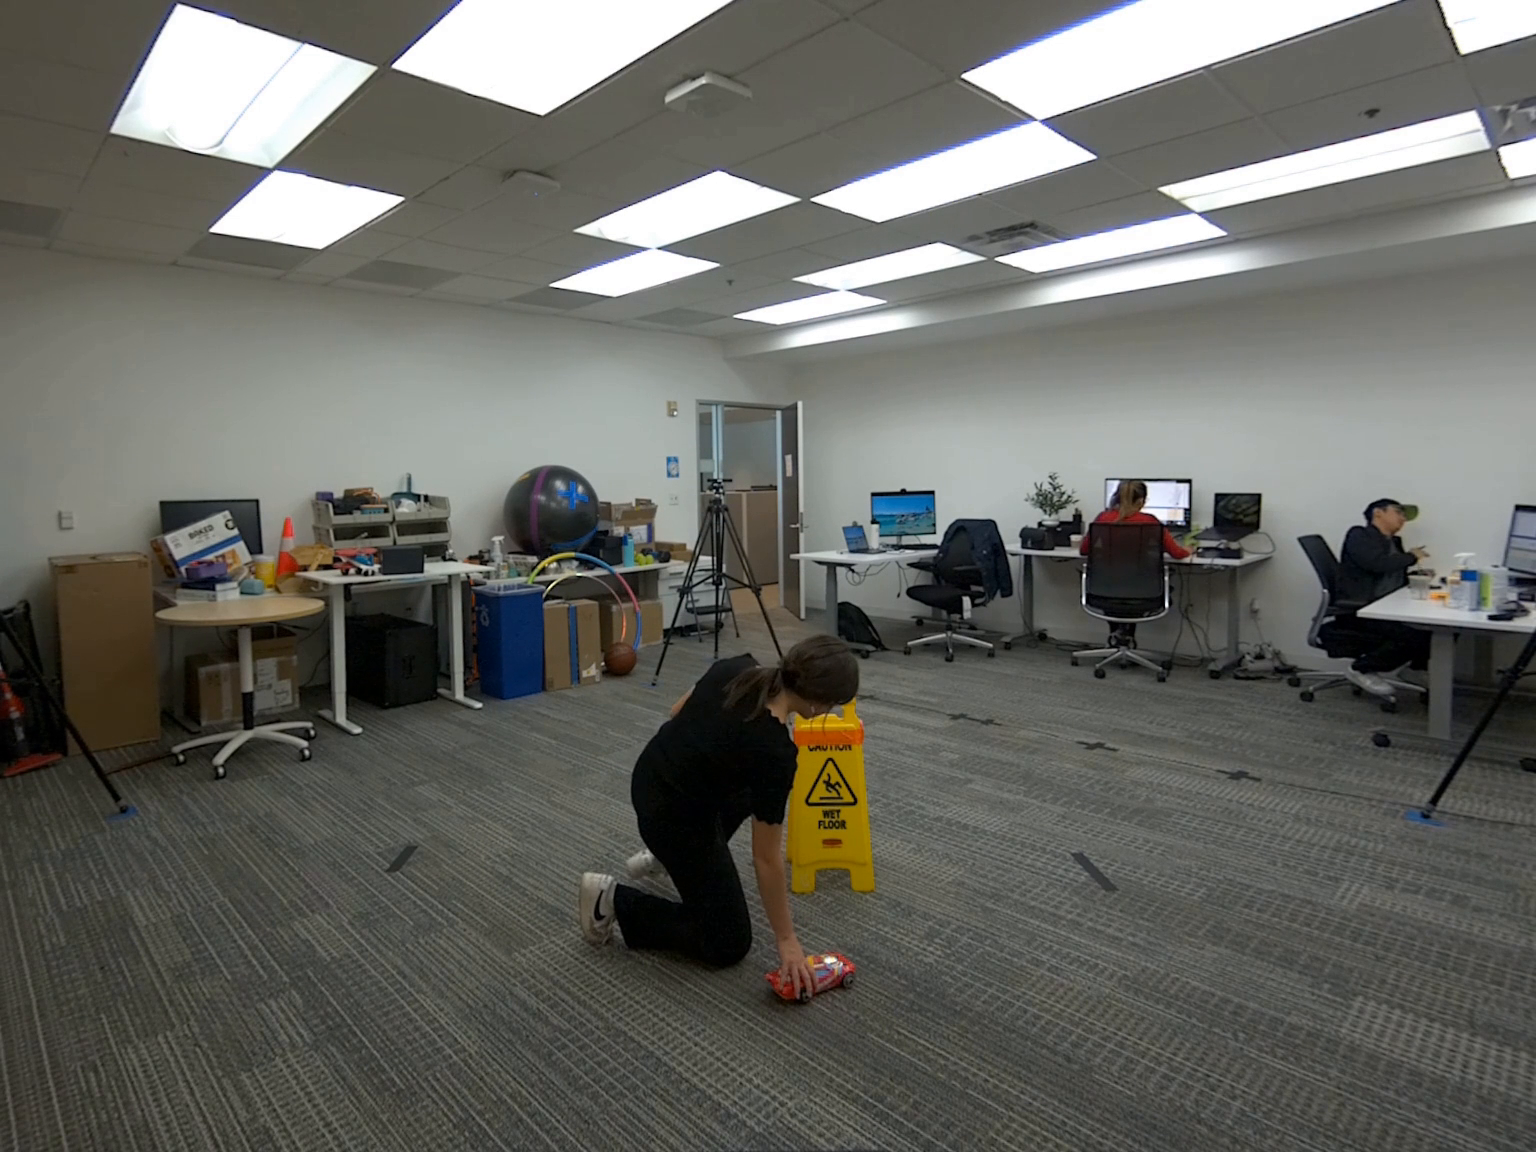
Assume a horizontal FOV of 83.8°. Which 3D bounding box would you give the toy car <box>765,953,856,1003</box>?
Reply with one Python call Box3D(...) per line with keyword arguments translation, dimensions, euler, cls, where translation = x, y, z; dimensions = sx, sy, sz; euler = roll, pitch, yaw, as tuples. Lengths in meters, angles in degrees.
Box3D(translation=(0.112, 1.096, 2.336), dimensions=(0.248, 0.083, 0.134), euler=(4, 2, -28), cls="toy car")
